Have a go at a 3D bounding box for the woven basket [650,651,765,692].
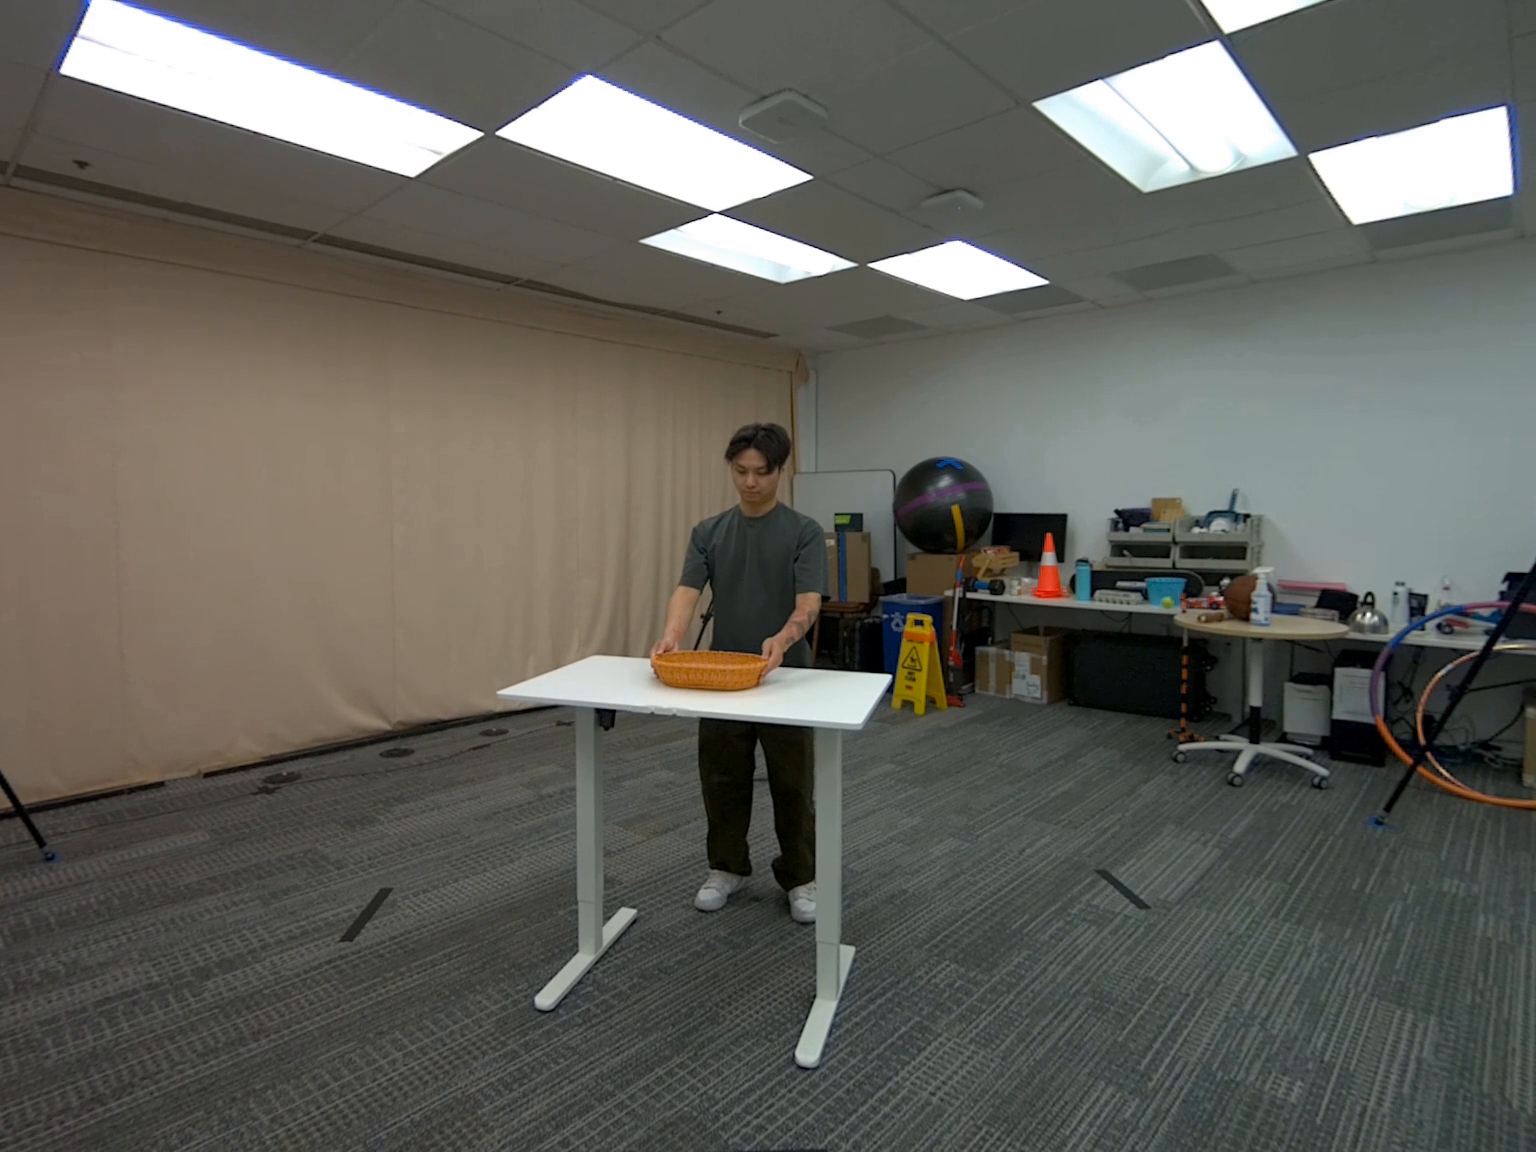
[{"bbox_3d":[-0.166,0.276,2.421,0.359,0.073,0.247,1,5,23],"label":"woven basket"}]
